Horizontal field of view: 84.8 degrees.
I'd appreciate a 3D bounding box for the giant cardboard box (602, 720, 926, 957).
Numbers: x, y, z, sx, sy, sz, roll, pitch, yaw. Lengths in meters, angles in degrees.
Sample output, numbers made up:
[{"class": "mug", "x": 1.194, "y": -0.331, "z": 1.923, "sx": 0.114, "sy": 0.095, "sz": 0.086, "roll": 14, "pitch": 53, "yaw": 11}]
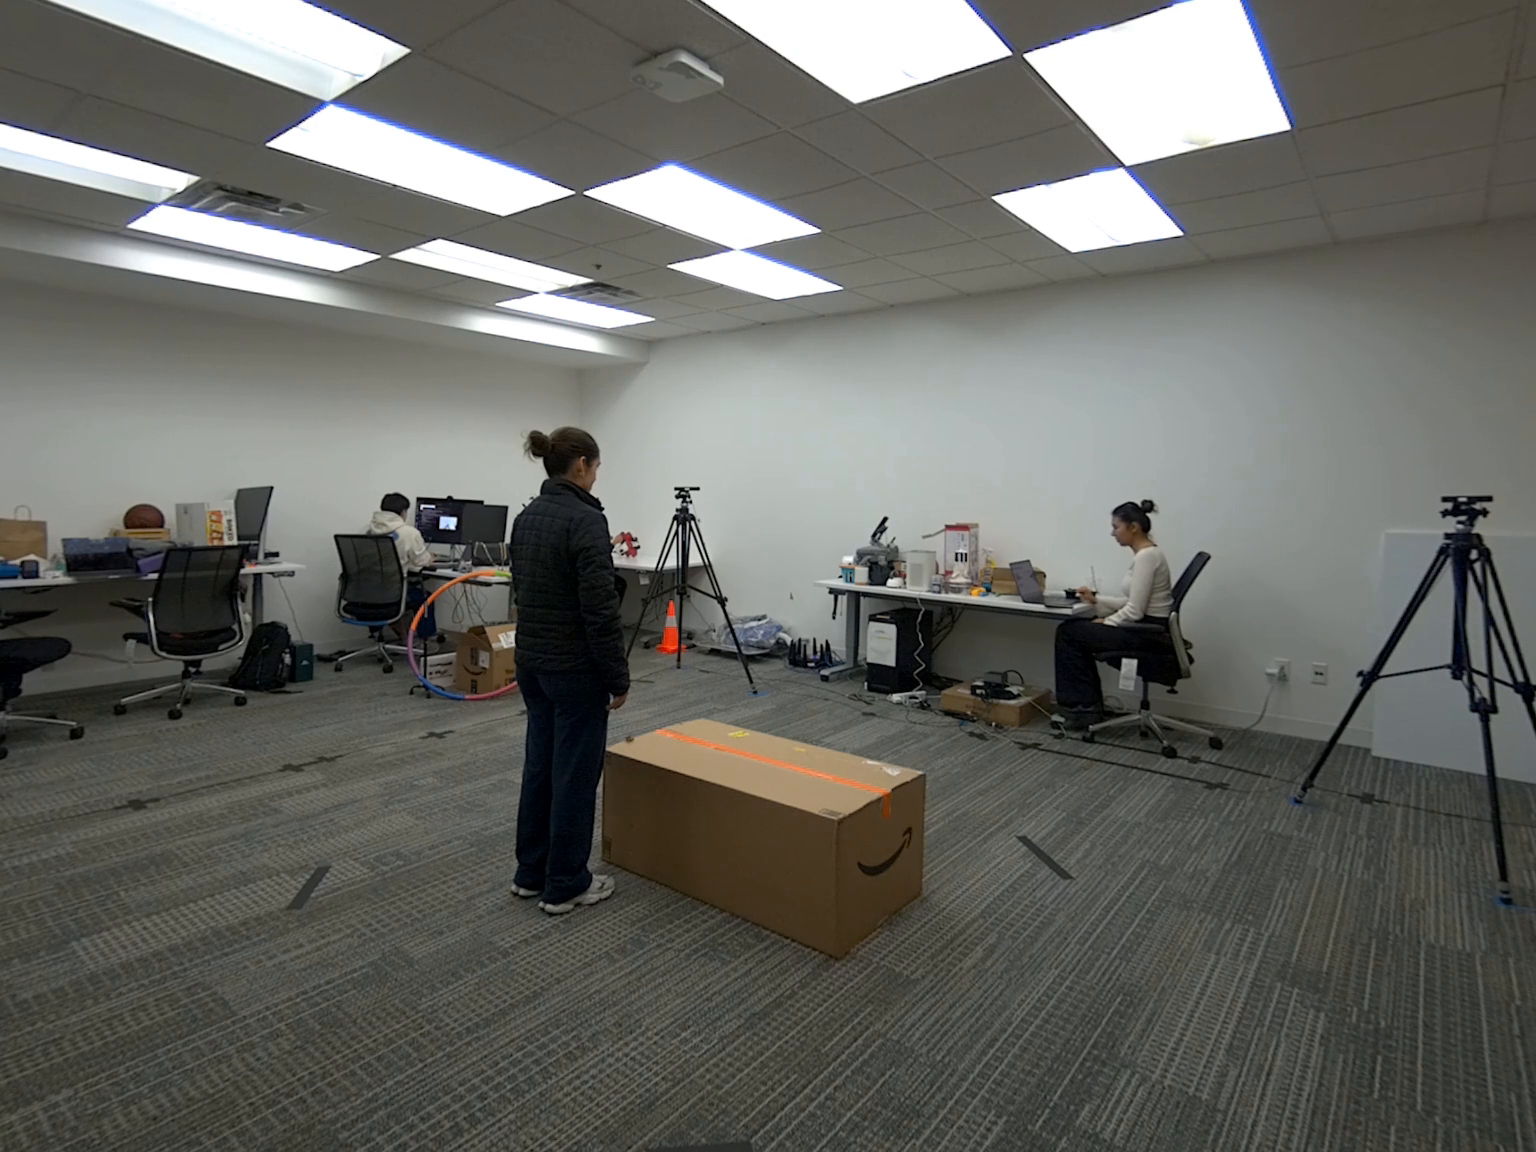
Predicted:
[{"class": "giant cardboard box", "x": -0.024, "y": 0.865, "z": 3.059, "sx": 1.062, "sy": 0.445, "sz": 0.567, "roll": 6, "pitch": 8, "yaw": 38}]
